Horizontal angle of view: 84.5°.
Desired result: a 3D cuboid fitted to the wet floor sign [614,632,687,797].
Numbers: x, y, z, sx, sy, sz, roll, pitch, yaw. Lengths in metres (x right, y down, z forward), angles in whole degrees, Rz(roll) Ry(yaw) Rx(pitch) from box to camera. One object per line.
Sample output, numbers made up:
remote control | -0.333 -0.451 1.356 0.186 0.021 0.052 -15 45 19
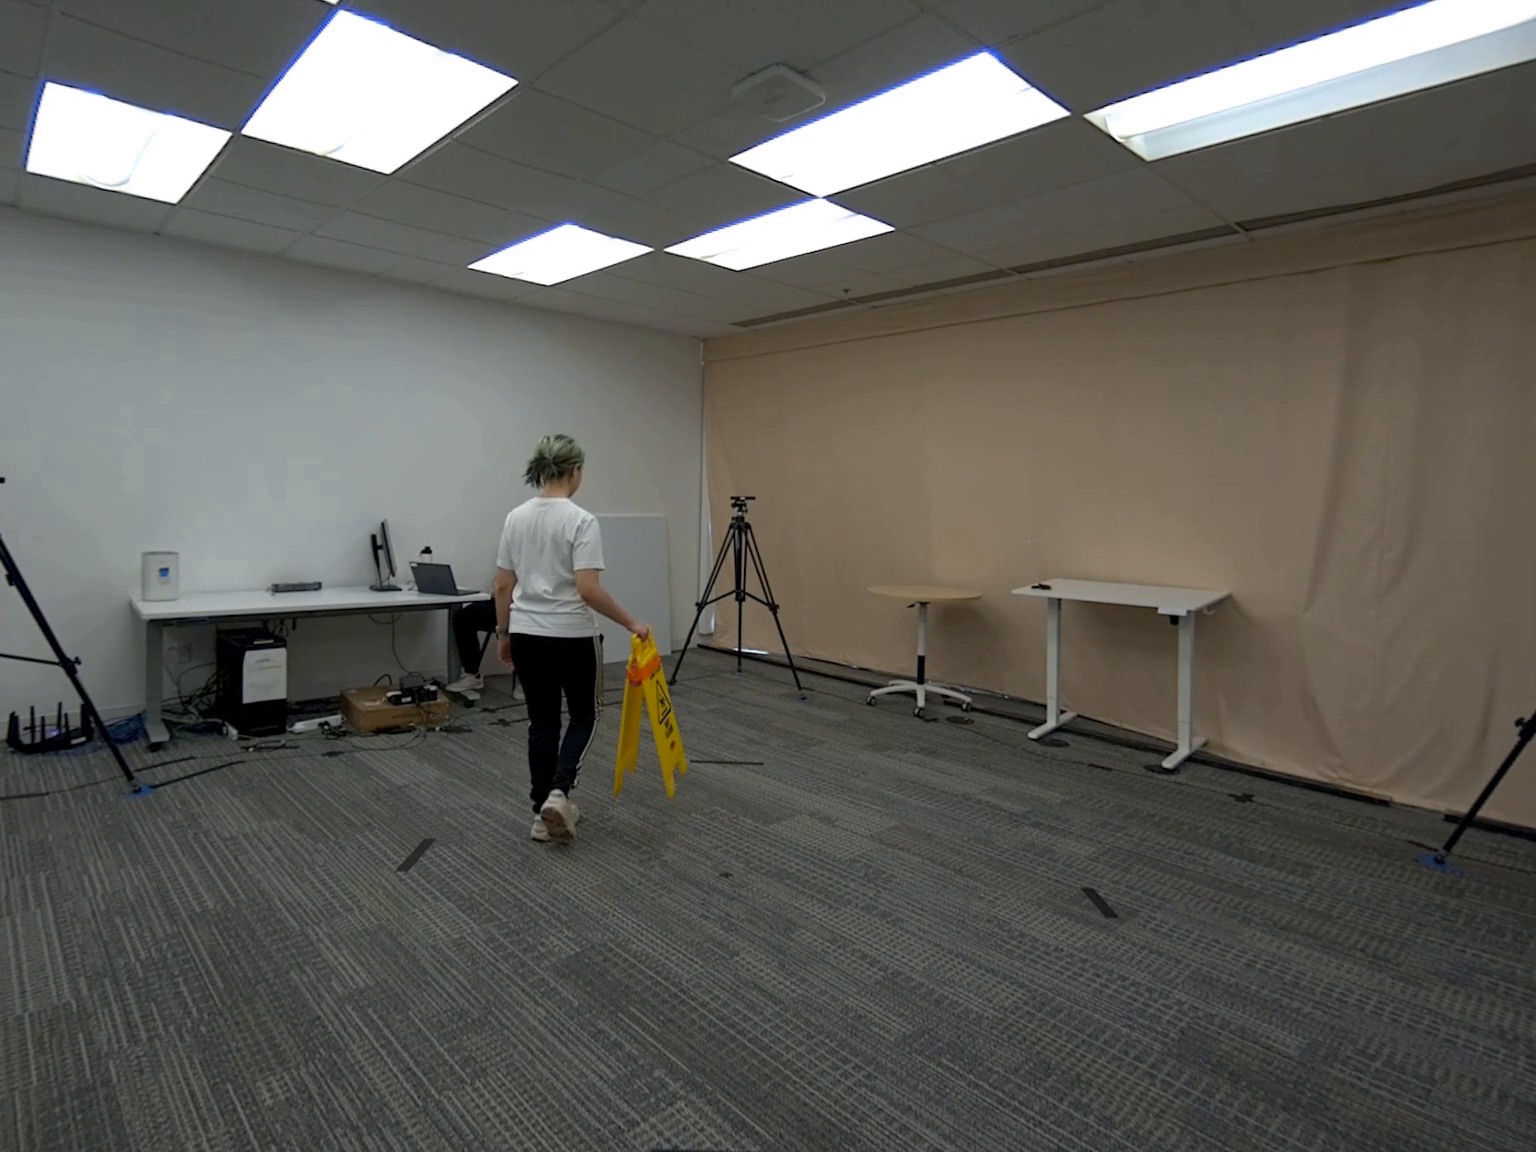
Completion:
wet floor sign | -0.508 0.536 3.426 0.292 0.641 0.282 1 11 8
